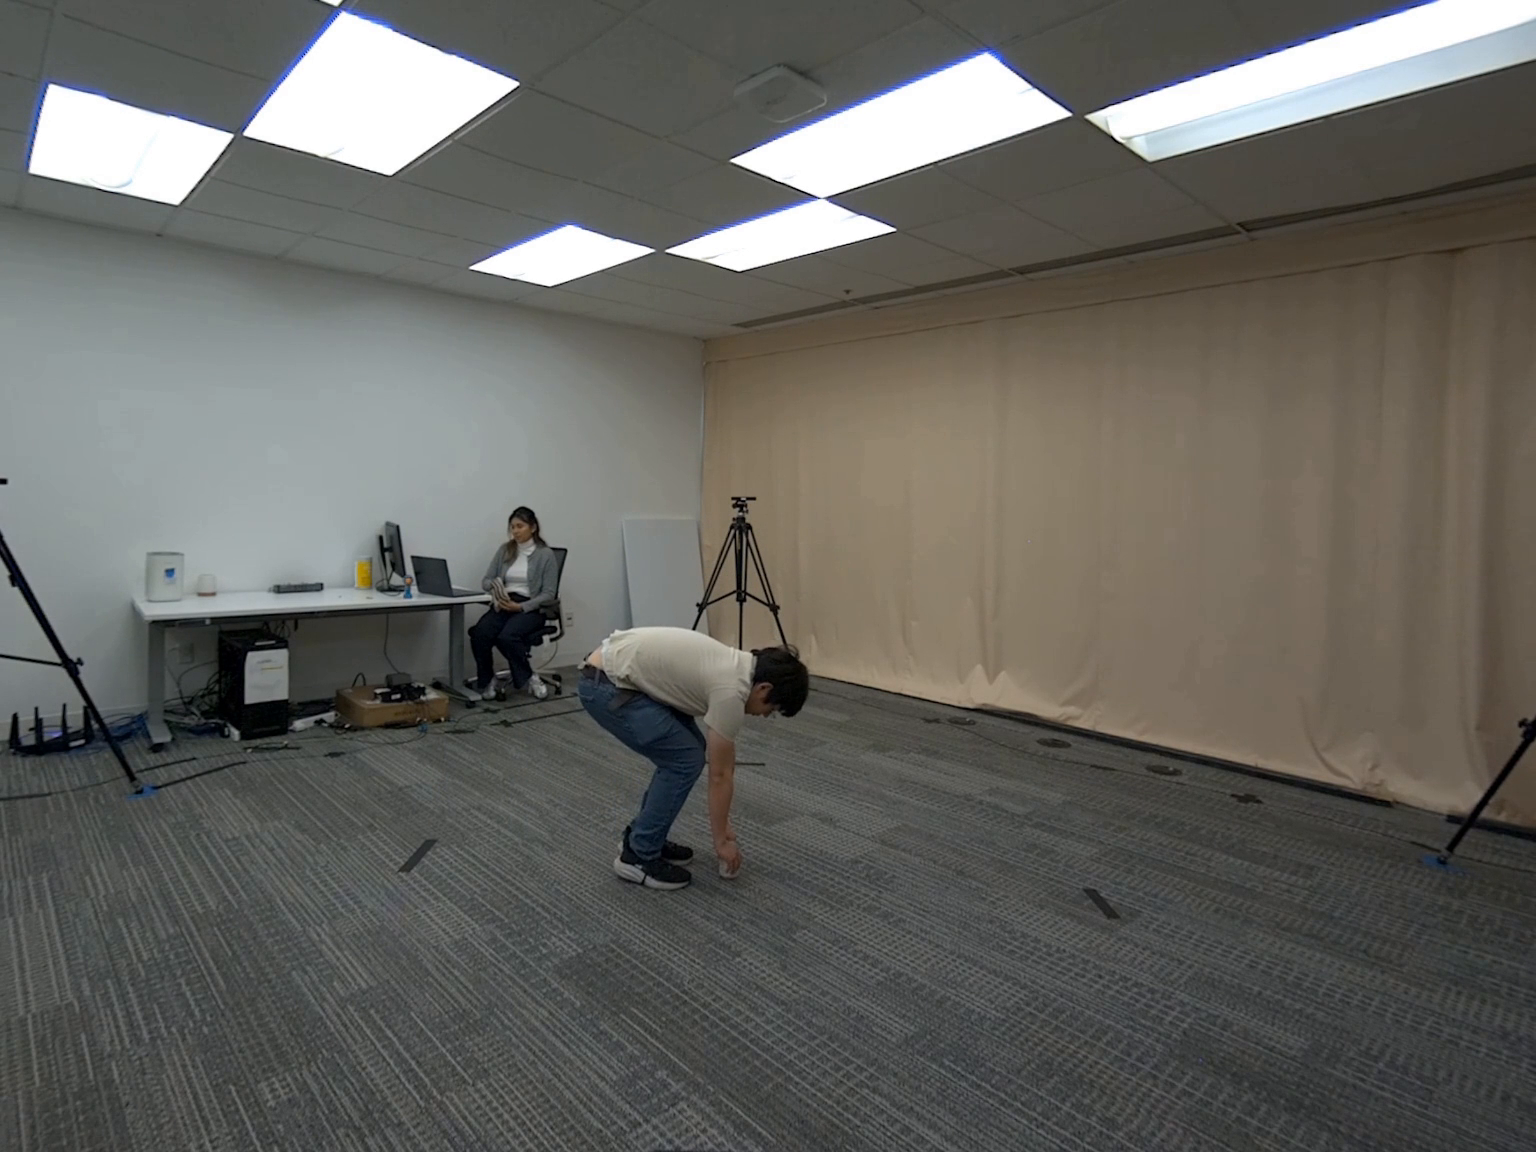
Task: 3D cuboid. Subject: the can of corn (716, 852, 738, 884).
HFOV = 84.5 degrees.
[{"bbox_3d":[-0.152,1.054,3.104,0.074,0.111,0.074,-2,2,-1],"label":"can of corn"}]
